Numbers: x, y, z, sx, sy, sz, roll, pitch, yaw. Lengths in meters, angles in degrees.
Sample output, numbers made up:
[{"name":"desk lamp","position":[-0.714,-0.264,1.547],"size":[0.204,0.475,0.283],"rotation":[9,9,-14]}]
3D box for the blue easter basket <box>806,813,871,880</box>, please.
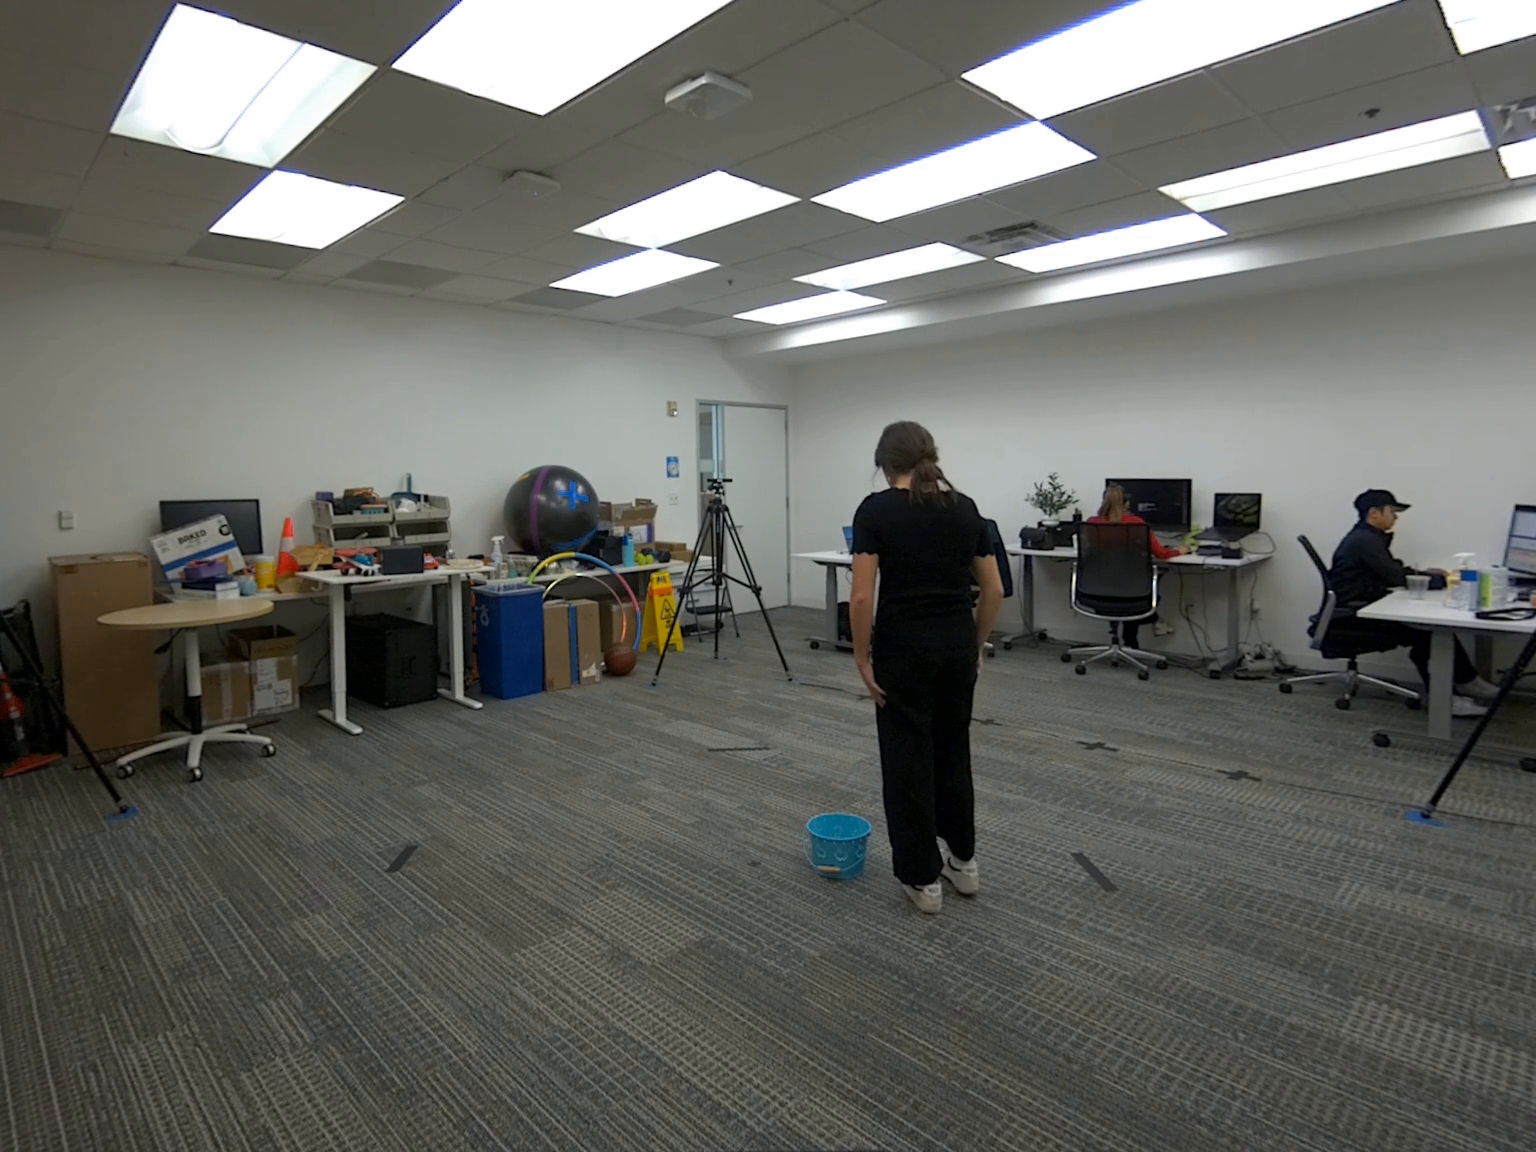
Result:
[{"name":"blue easter basket","position":[0.252,0.966,3.058],"size":[0.243,0.155,0.245],"rotation":[0,5,-2]}]
